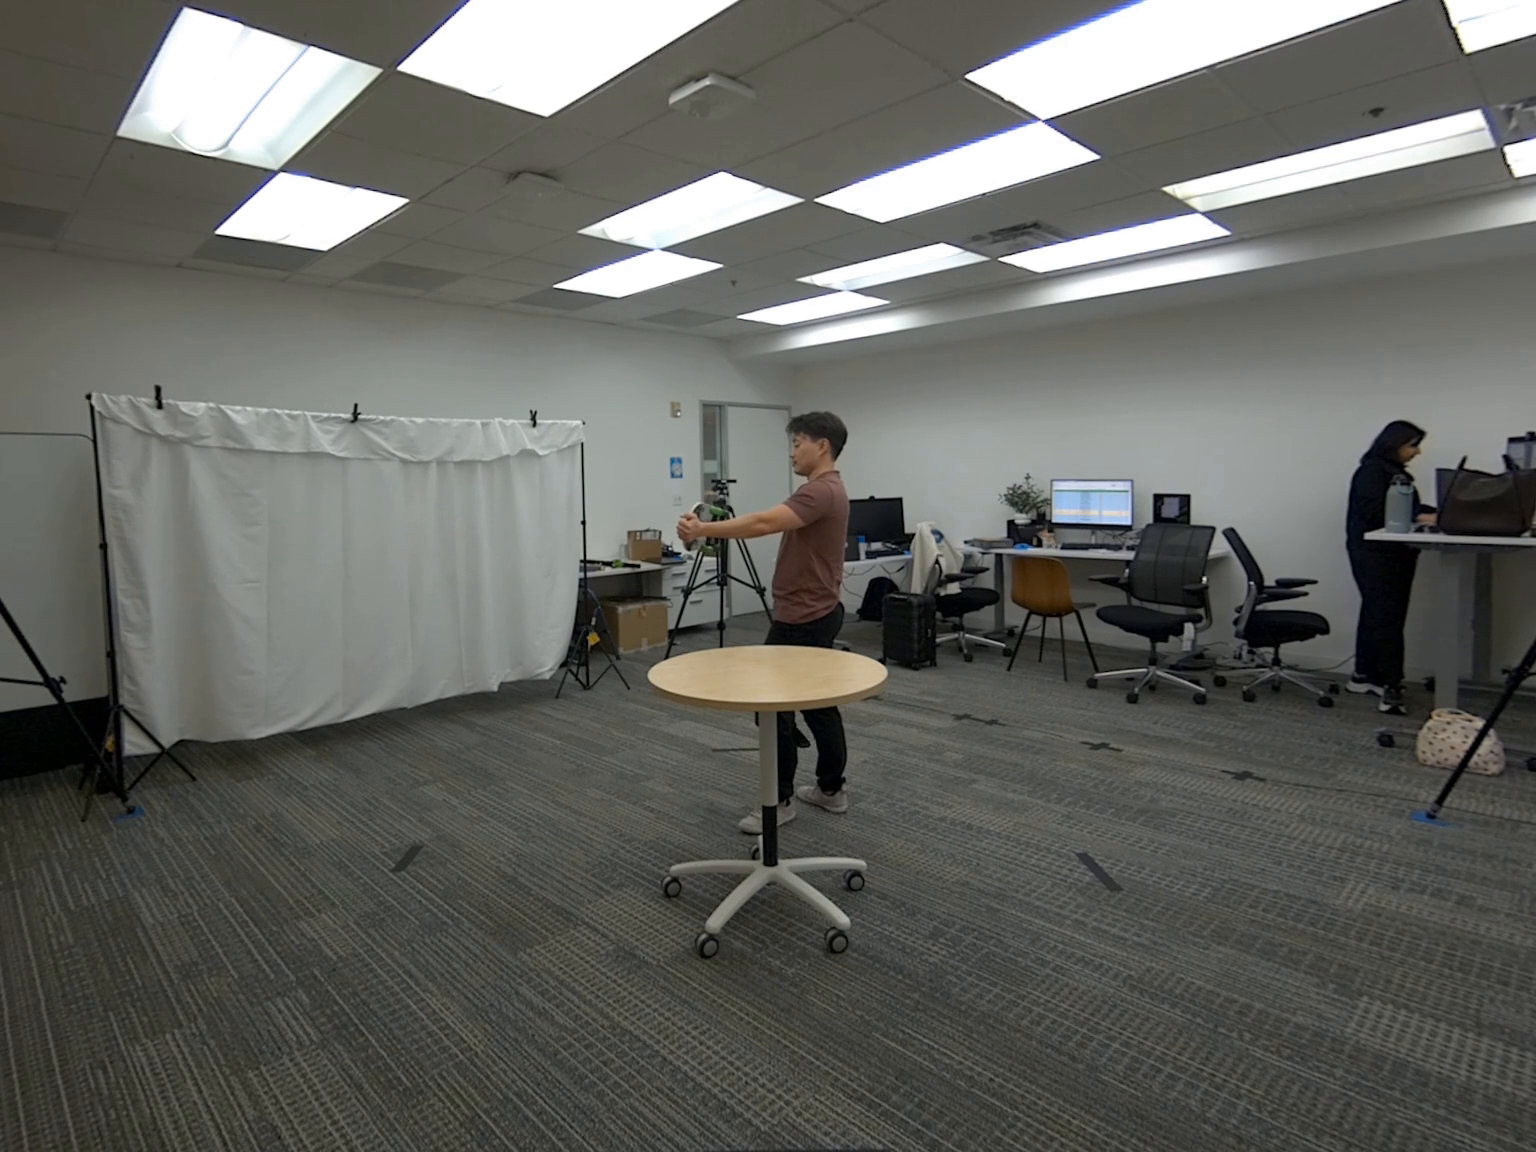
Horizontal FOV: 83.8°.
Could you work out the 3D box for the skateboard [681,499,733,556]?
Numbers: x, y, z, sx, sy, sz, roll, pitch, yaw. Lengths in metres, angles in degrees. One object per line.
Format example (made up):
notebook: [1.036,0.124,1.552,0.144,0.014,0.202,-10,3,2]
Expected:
skateboard: [-0.242,-0.204,3.531,0.111,0.193,0.784,9,3,1]
